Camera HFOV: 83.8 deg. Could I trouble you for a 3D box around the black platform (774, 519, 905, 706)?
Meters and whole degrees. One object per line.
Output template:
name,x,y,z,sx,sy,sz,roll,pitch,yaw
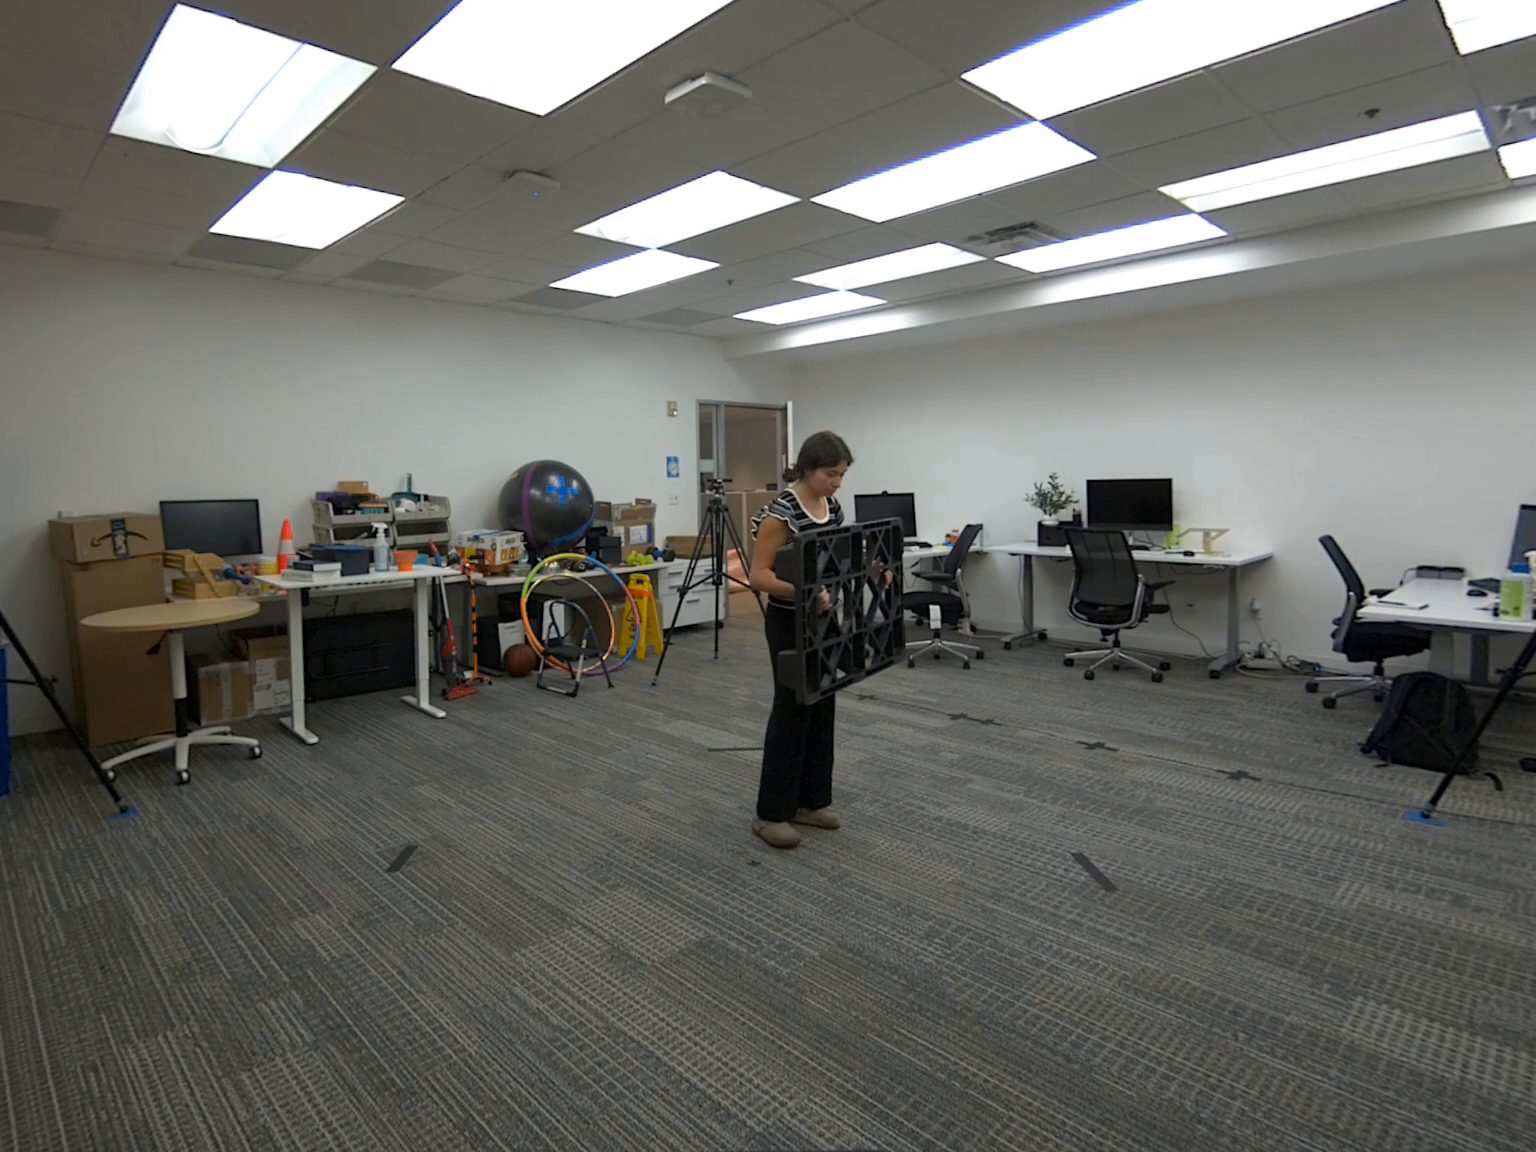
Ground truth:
black platform,0.280,0.102,3.269,0.147,0.602,0.787,0,7,35
